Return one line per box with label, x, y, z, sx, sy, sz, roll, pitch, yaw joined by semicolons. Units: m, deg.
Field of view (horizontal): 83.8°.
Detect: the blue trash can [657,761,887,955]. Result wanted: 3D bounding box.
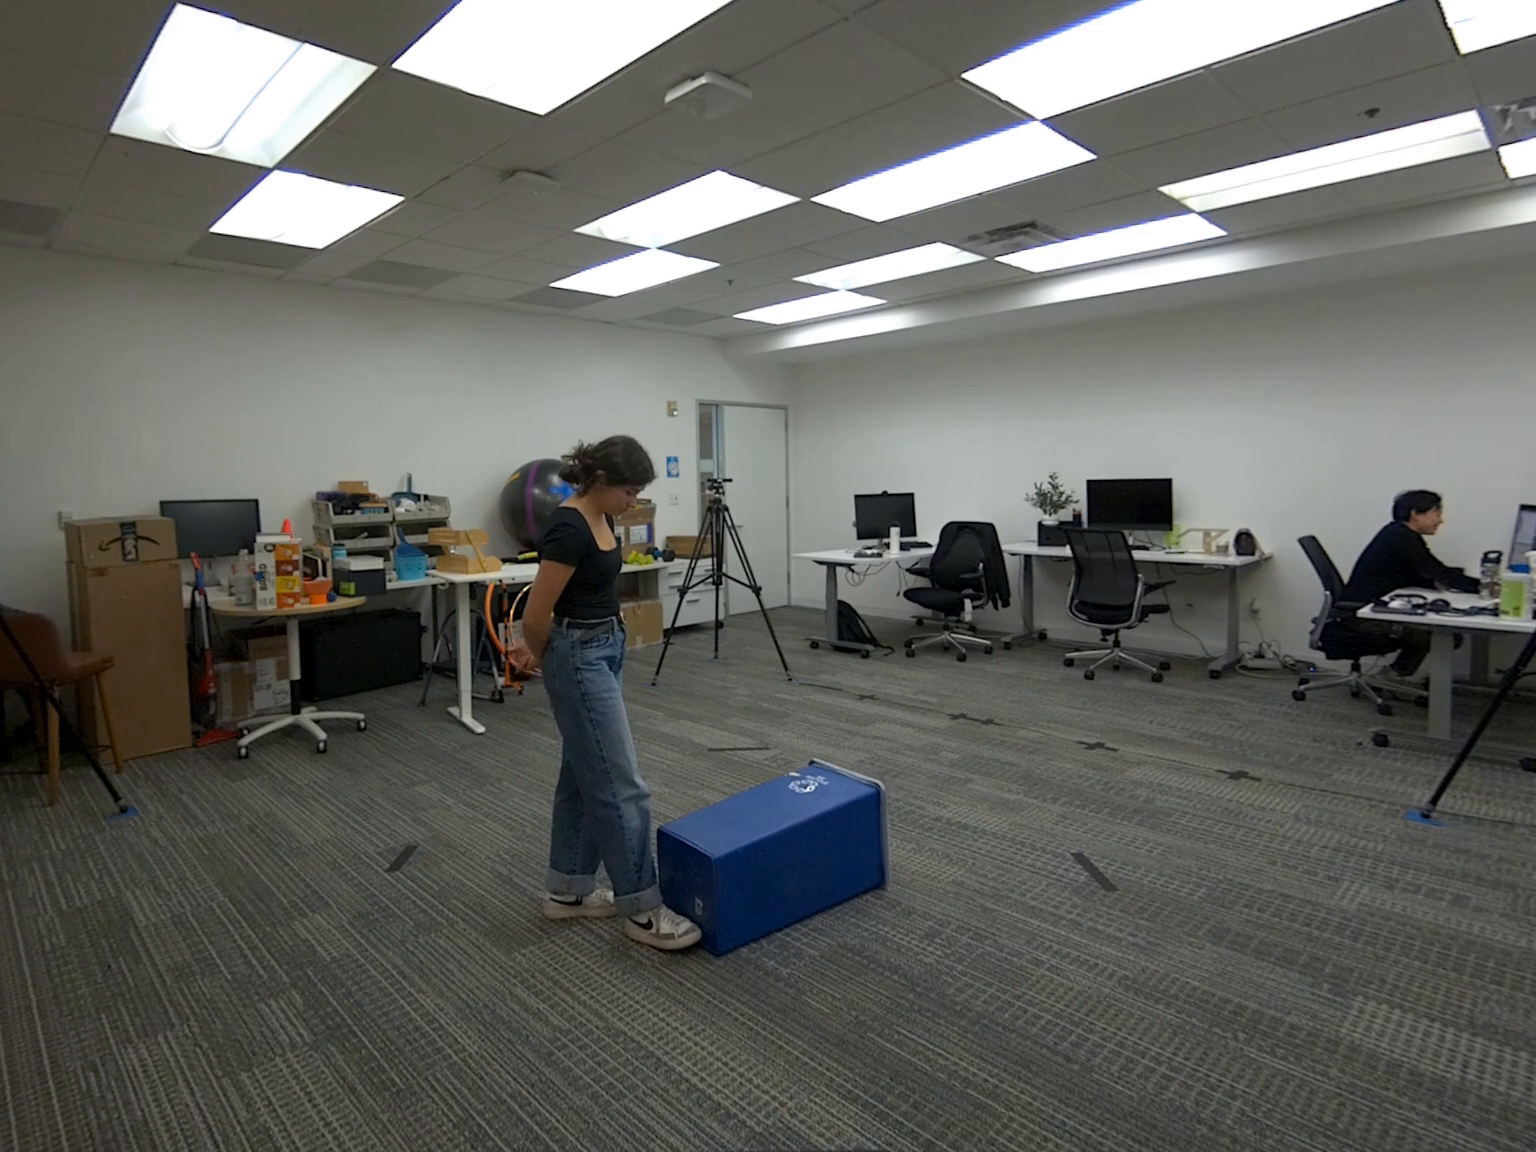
blue trash can;0.027;0.910;2.811;0.696;0.376;0.385;-9;9;-39
